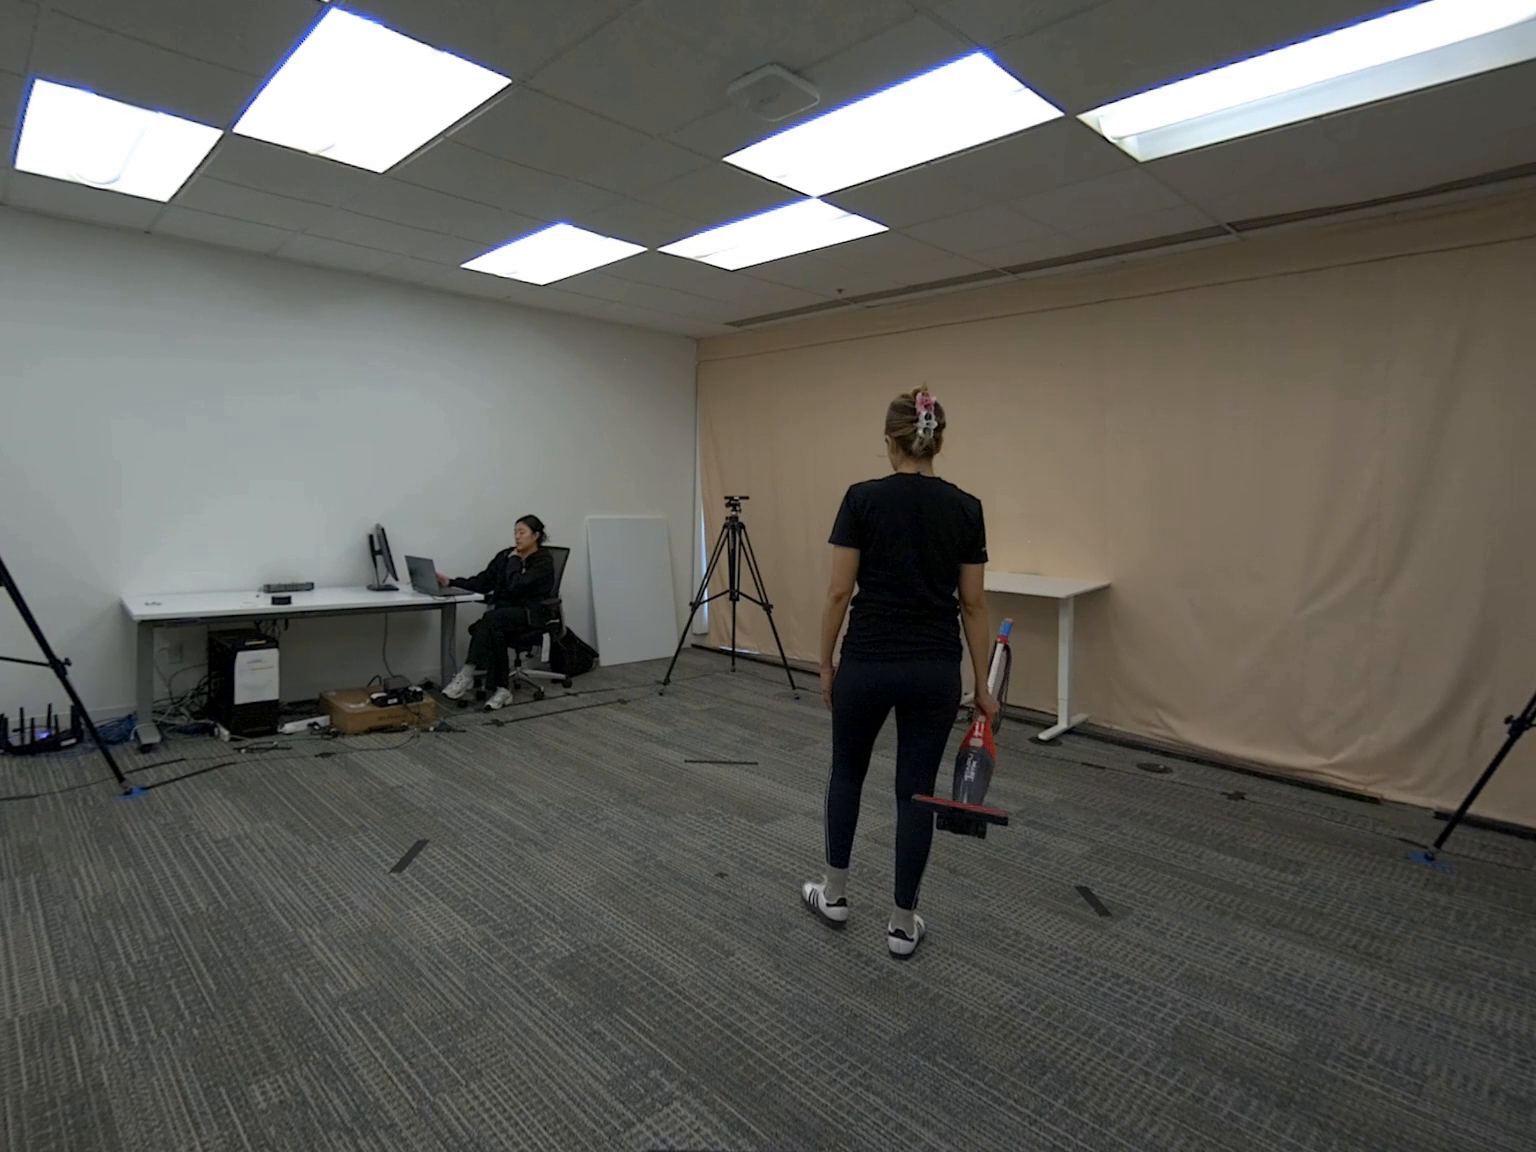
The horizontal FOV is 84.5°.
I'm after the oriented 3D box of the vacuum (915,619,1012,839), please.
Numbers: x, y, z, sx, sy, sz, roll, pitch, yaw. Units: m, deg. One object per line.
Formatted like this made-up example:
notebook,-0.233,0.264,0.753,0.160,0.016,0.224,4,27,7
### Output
vacuum,0.725,0.423,2.686,0.257,0.141,1.052,5,31,21
